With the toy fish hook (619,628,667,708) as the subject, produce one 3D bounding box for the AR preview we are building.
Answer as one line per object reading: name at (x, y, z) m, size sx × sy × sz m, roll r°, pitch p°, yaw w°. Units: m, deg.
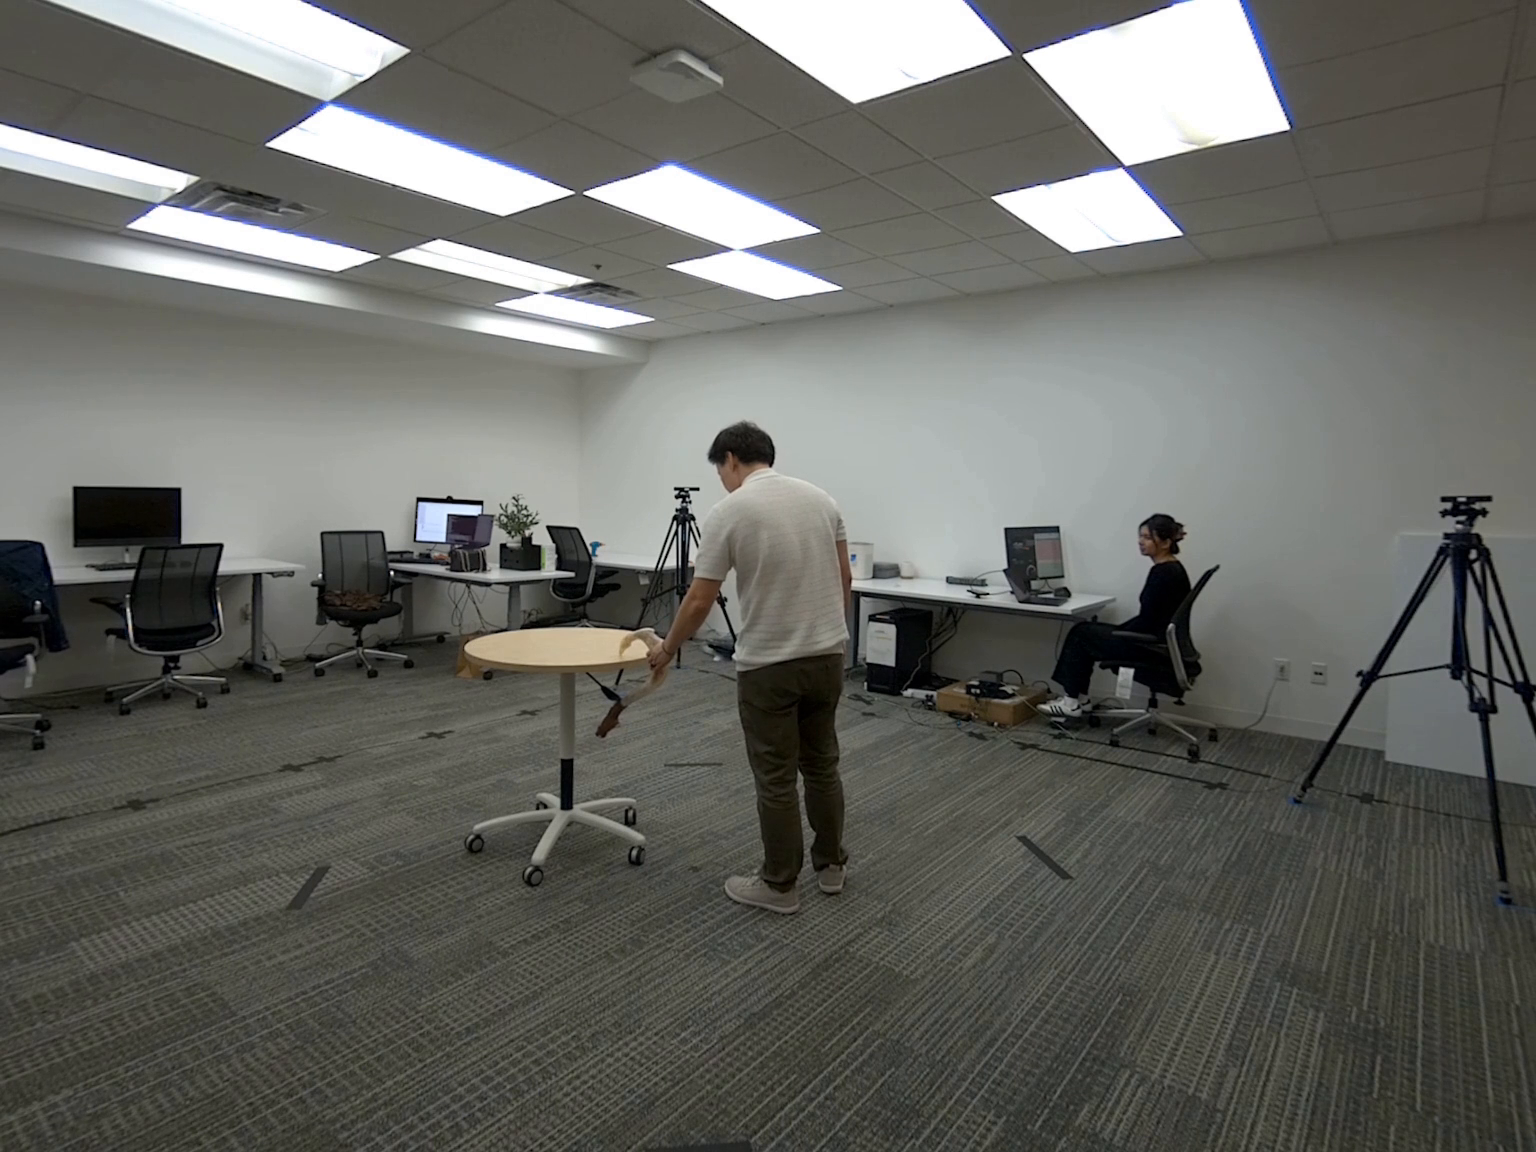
toy fish hook at (-0.533, 0.383, 3.071) m, size 0.047 × 0.232 × 0.506 m, roll 2°, pitch -44°, yaw -51°
